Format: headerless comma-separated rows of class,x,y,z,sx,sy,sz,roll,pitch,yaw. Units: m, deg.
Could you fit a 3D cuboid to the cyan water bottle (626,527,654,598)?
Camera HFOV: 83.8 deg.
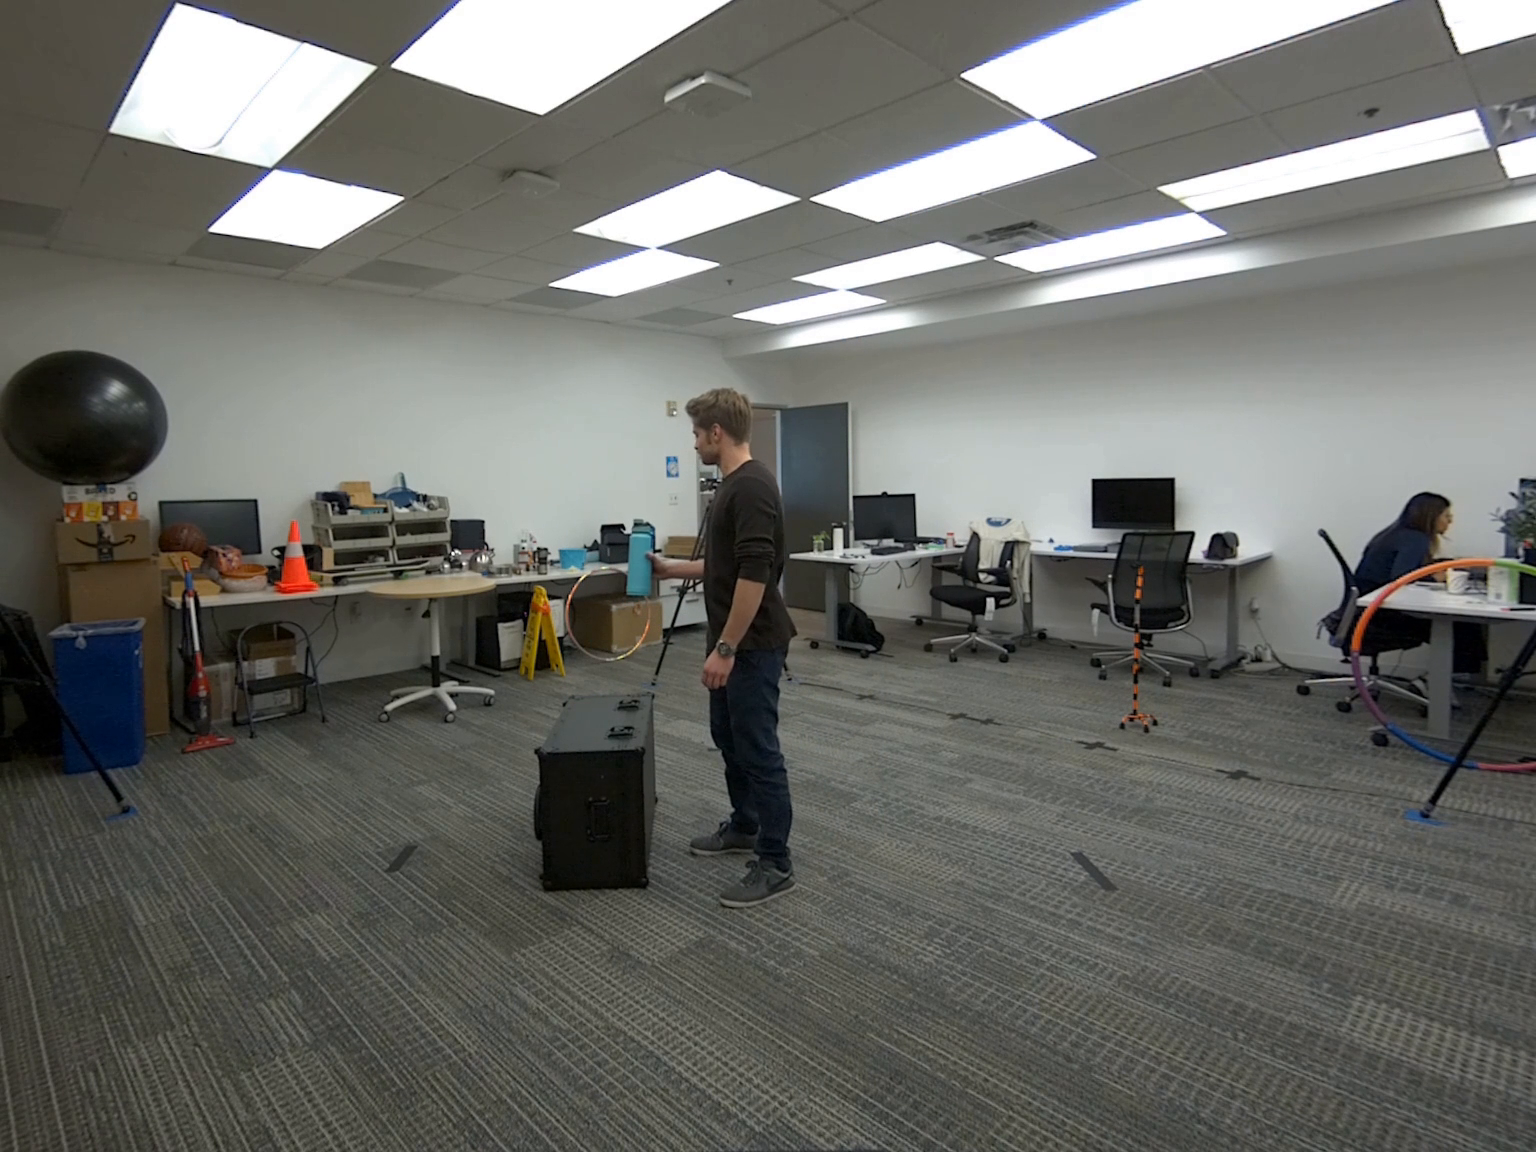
cyan water bottle,-0.469,-0.071,3.174,0.092,0.284,0.092,3,-2,-2
